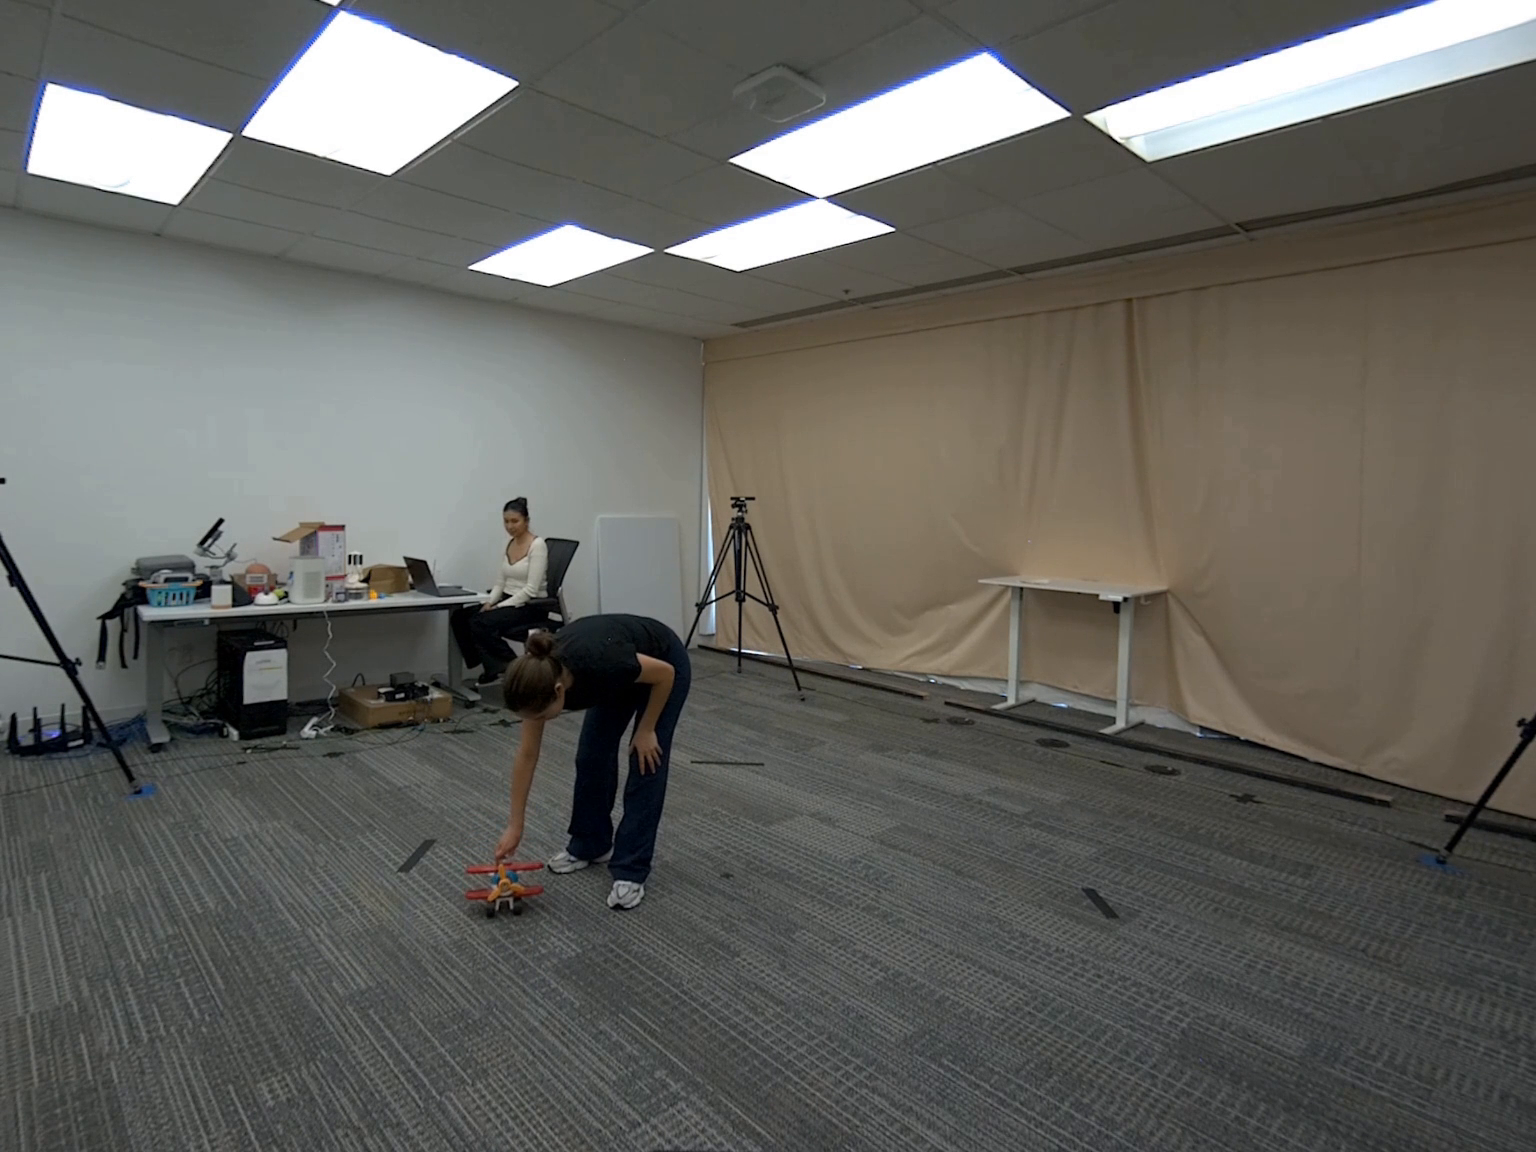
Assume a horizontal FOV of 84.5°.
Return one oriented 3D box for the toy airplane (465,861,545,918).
[{"bbox_3d":[-0.910,1.042,2.832,0.245,0.156,0.266,-2,6,-43],"label":"toy airplane"}]
